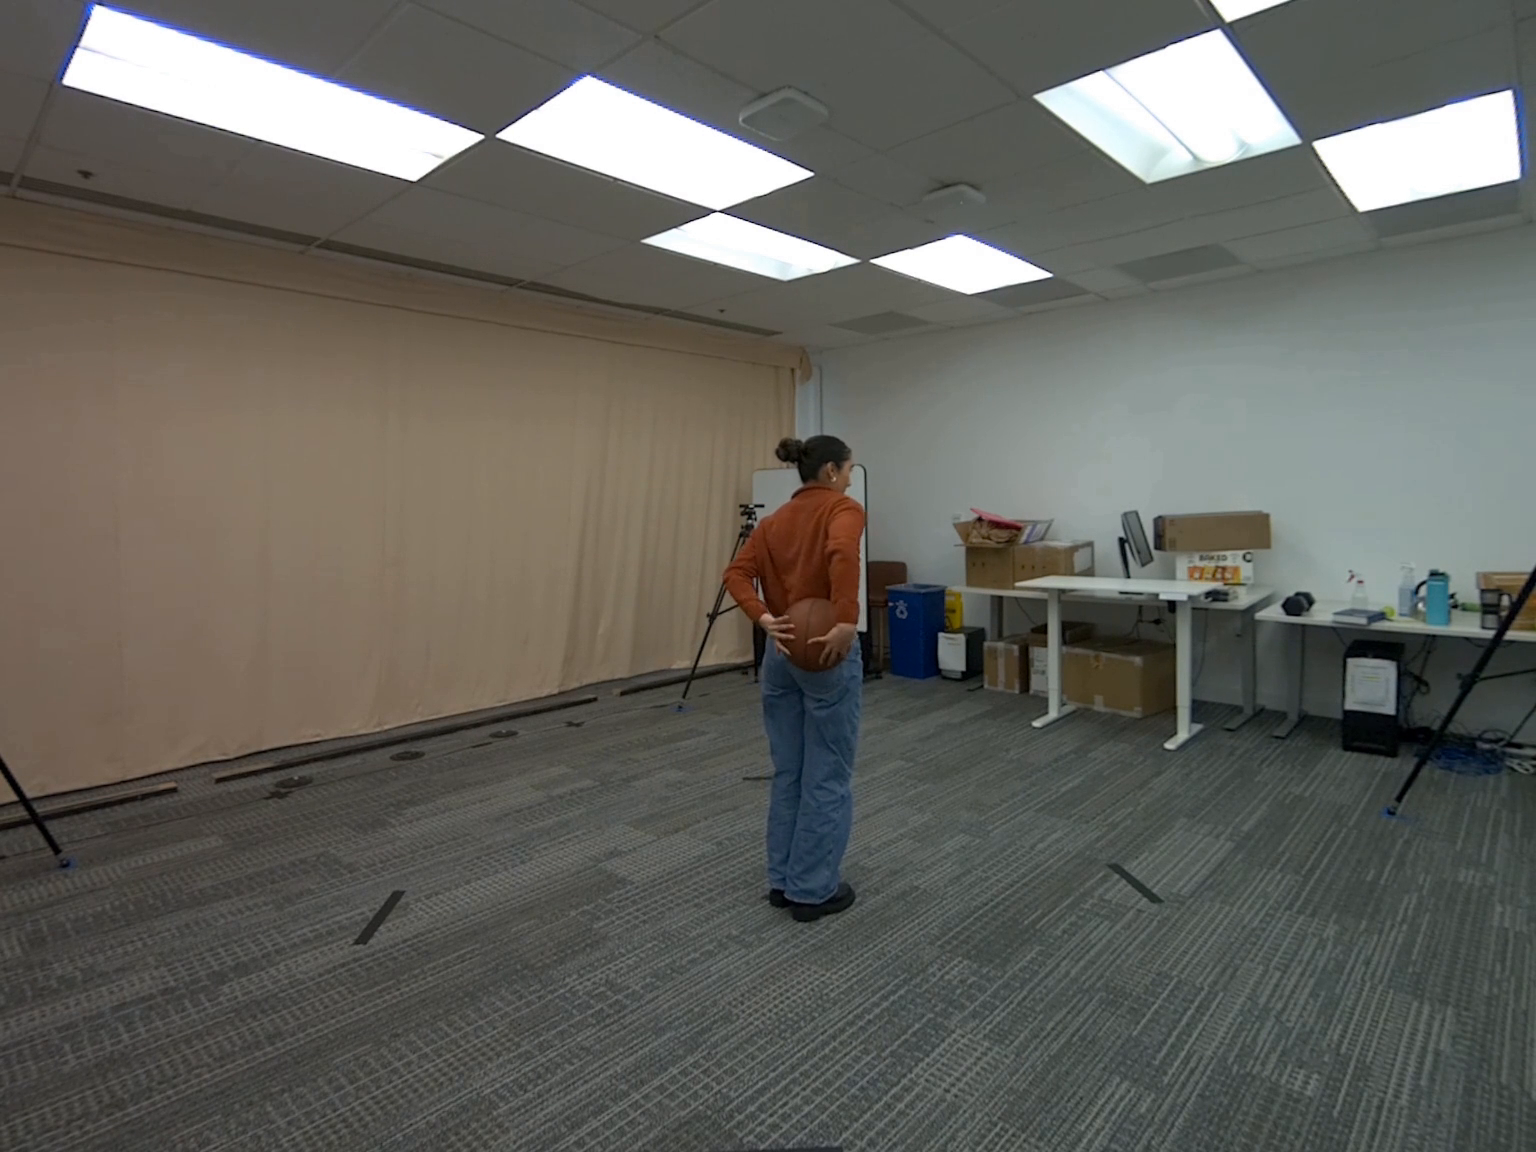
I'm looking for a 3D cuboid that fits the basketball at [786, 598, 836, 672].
[{"bbox_3d":[0.155,0.182,2.688,0.236,0.235,0.237,-1,4,-2],"label":"basketball"}]
